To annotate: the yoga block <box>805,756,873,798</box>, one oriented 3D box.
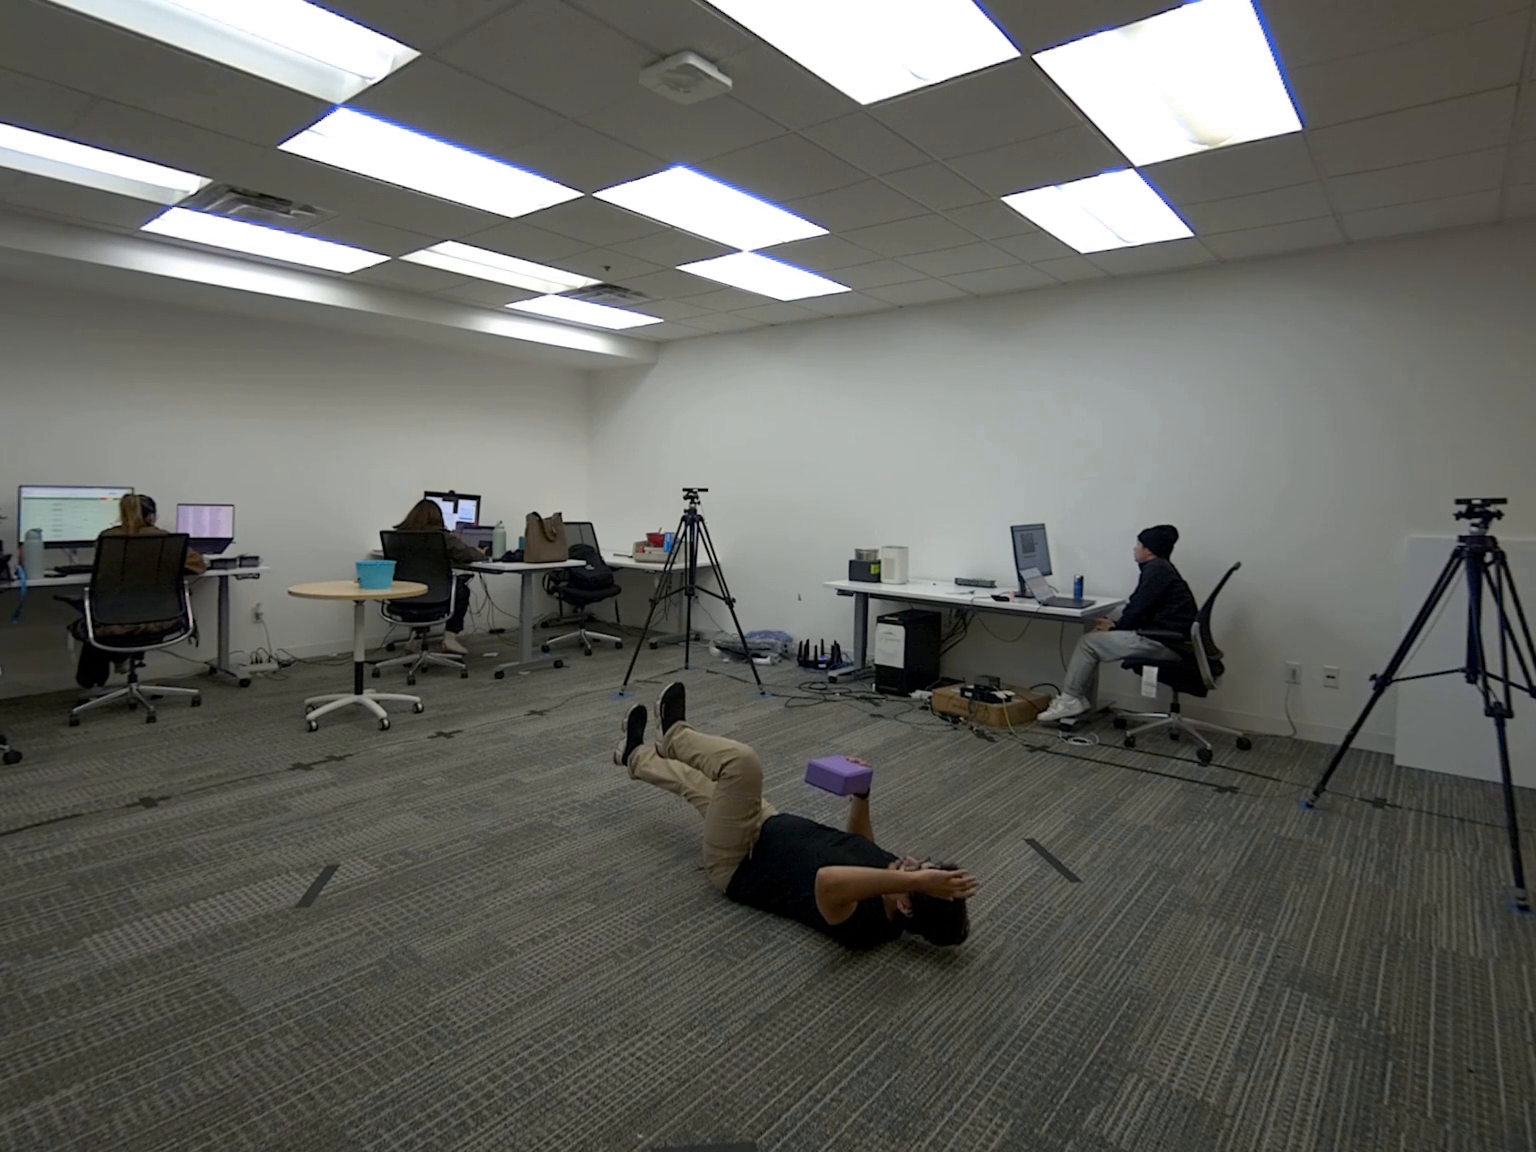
[{"bbox_3d":[0.224,0.663,2.841,0.154,0.076,0.222,12,1,30],"label":"yoga block"}]
